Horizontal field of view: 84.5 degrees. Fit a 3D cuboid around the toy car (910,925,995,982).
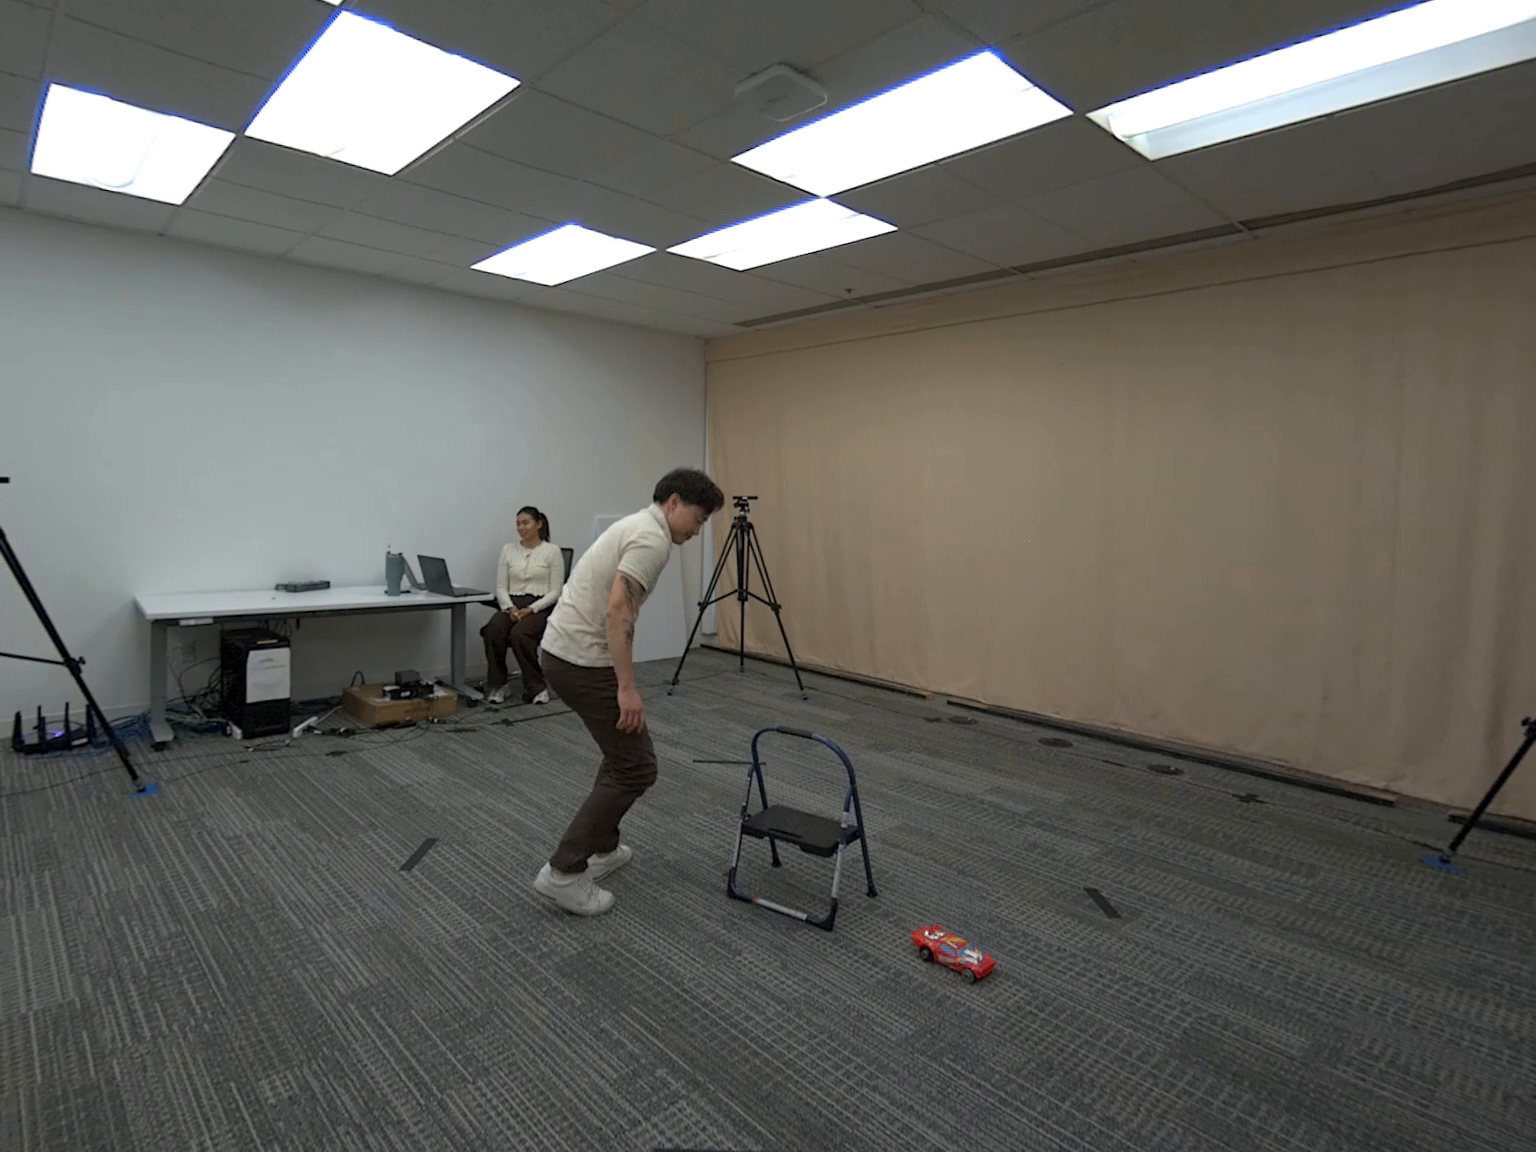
[{"bbox_3d":[0.548,1.140,2.544,0.127,0.082,0.262,-3,17,-43],"label":"toy car"}]
